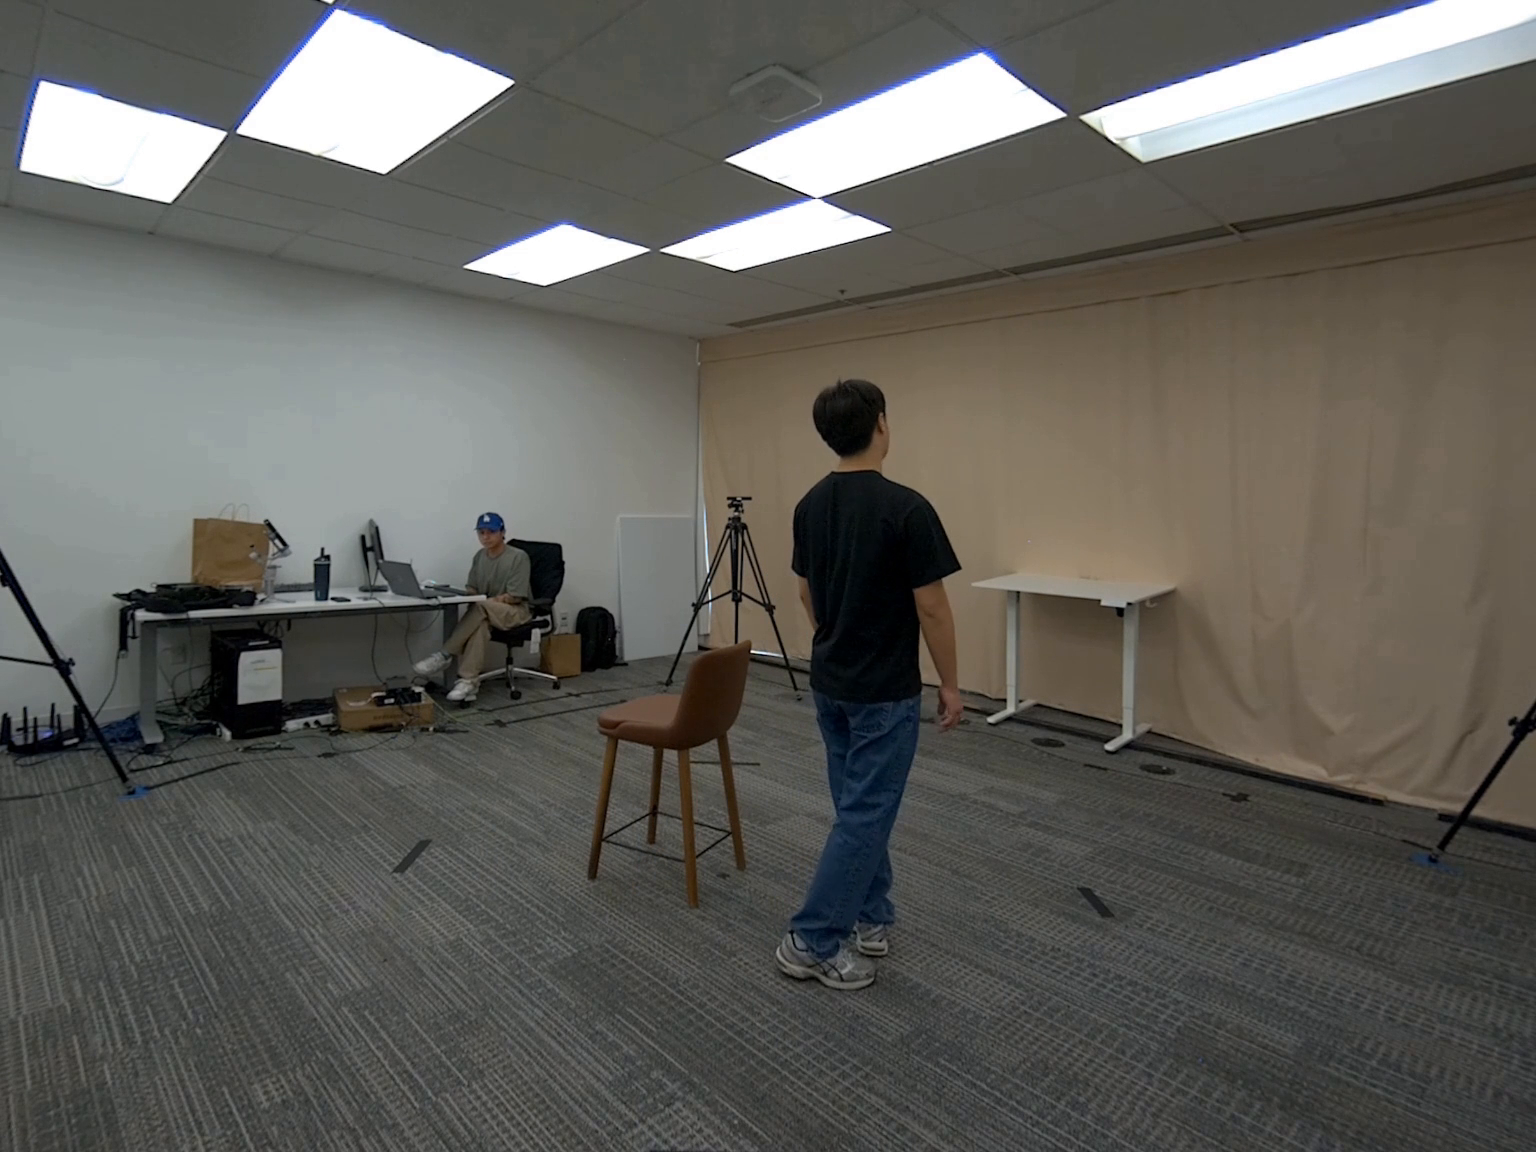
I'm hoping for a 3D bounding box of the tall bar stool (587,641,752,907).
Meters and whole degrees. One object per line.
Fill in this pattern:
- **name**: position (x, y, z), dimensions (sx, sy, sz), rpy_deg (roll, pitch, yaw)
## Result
- **tall bar stool**: position (-0.355, 0.668, 3.091), dimensions (0.478, 0.887, 0.448), rpy_deg (5, 5, 29)
